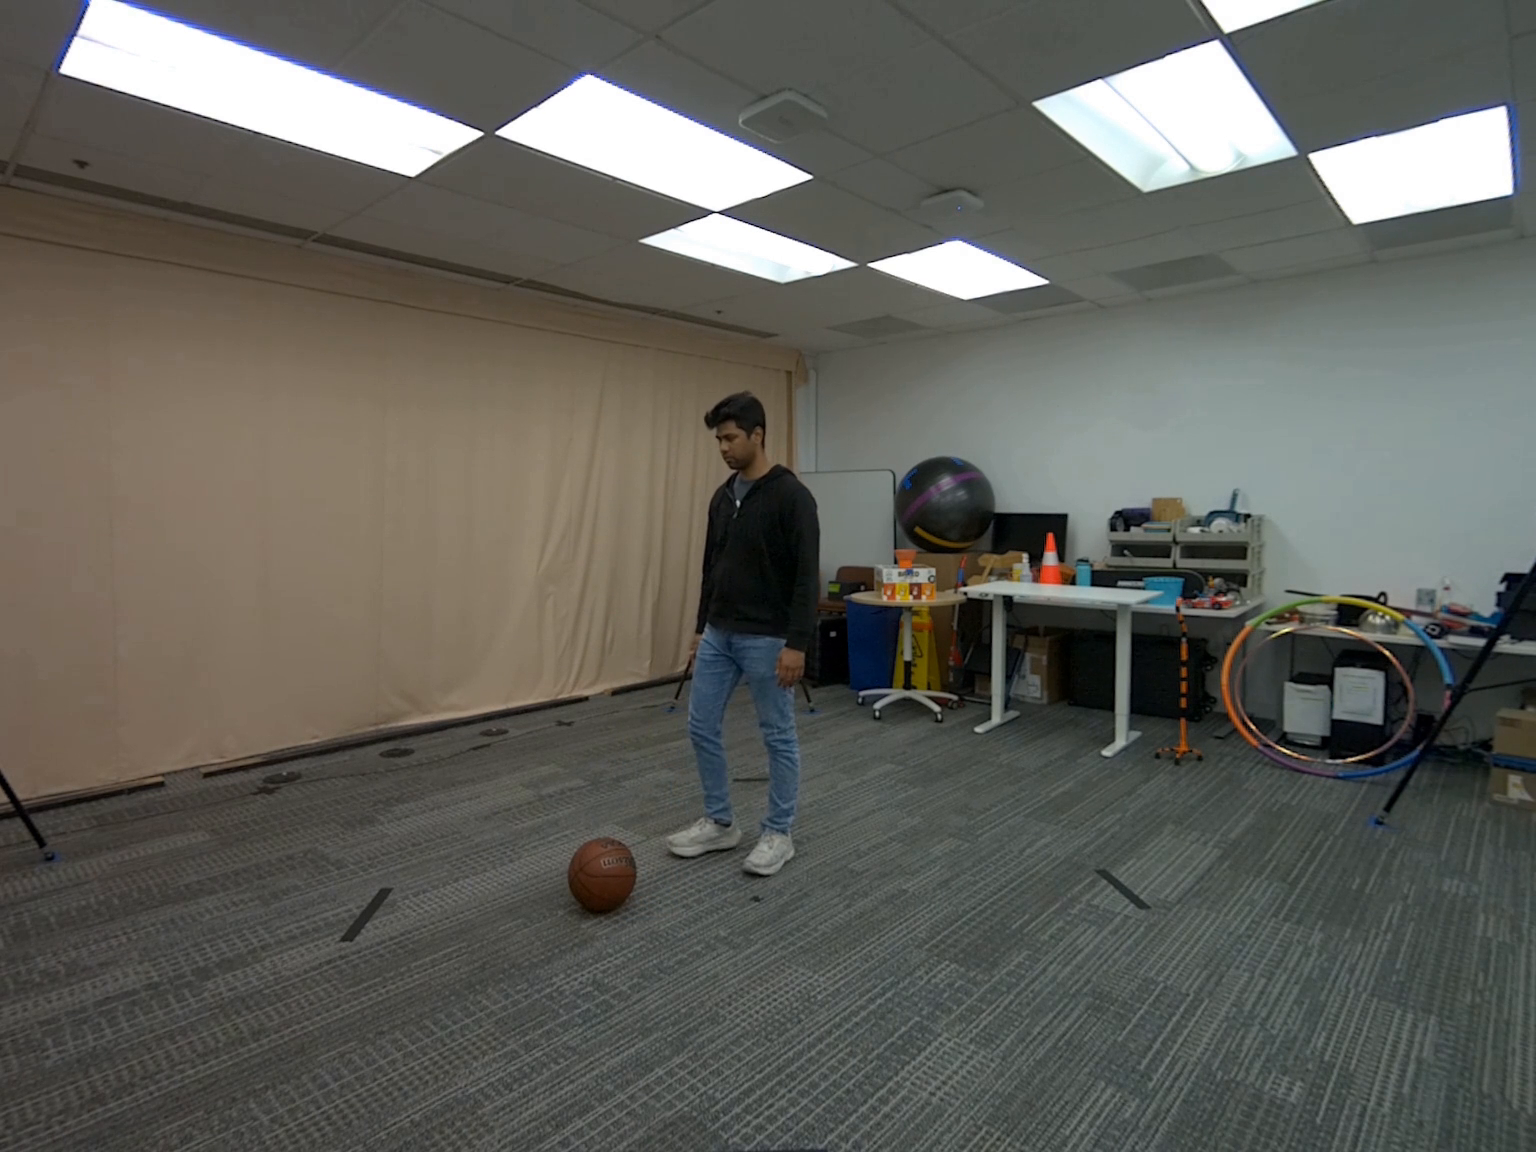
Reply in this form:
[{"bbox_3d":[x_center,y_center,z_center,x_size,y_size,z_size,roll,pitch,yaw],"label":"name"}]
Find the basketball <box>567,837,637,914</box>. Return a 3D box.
[{"bbox_3d":[-0.574,1.033,2.921,0.236,0.235,0.237,0,4,-2],"label":"basketball"}]
